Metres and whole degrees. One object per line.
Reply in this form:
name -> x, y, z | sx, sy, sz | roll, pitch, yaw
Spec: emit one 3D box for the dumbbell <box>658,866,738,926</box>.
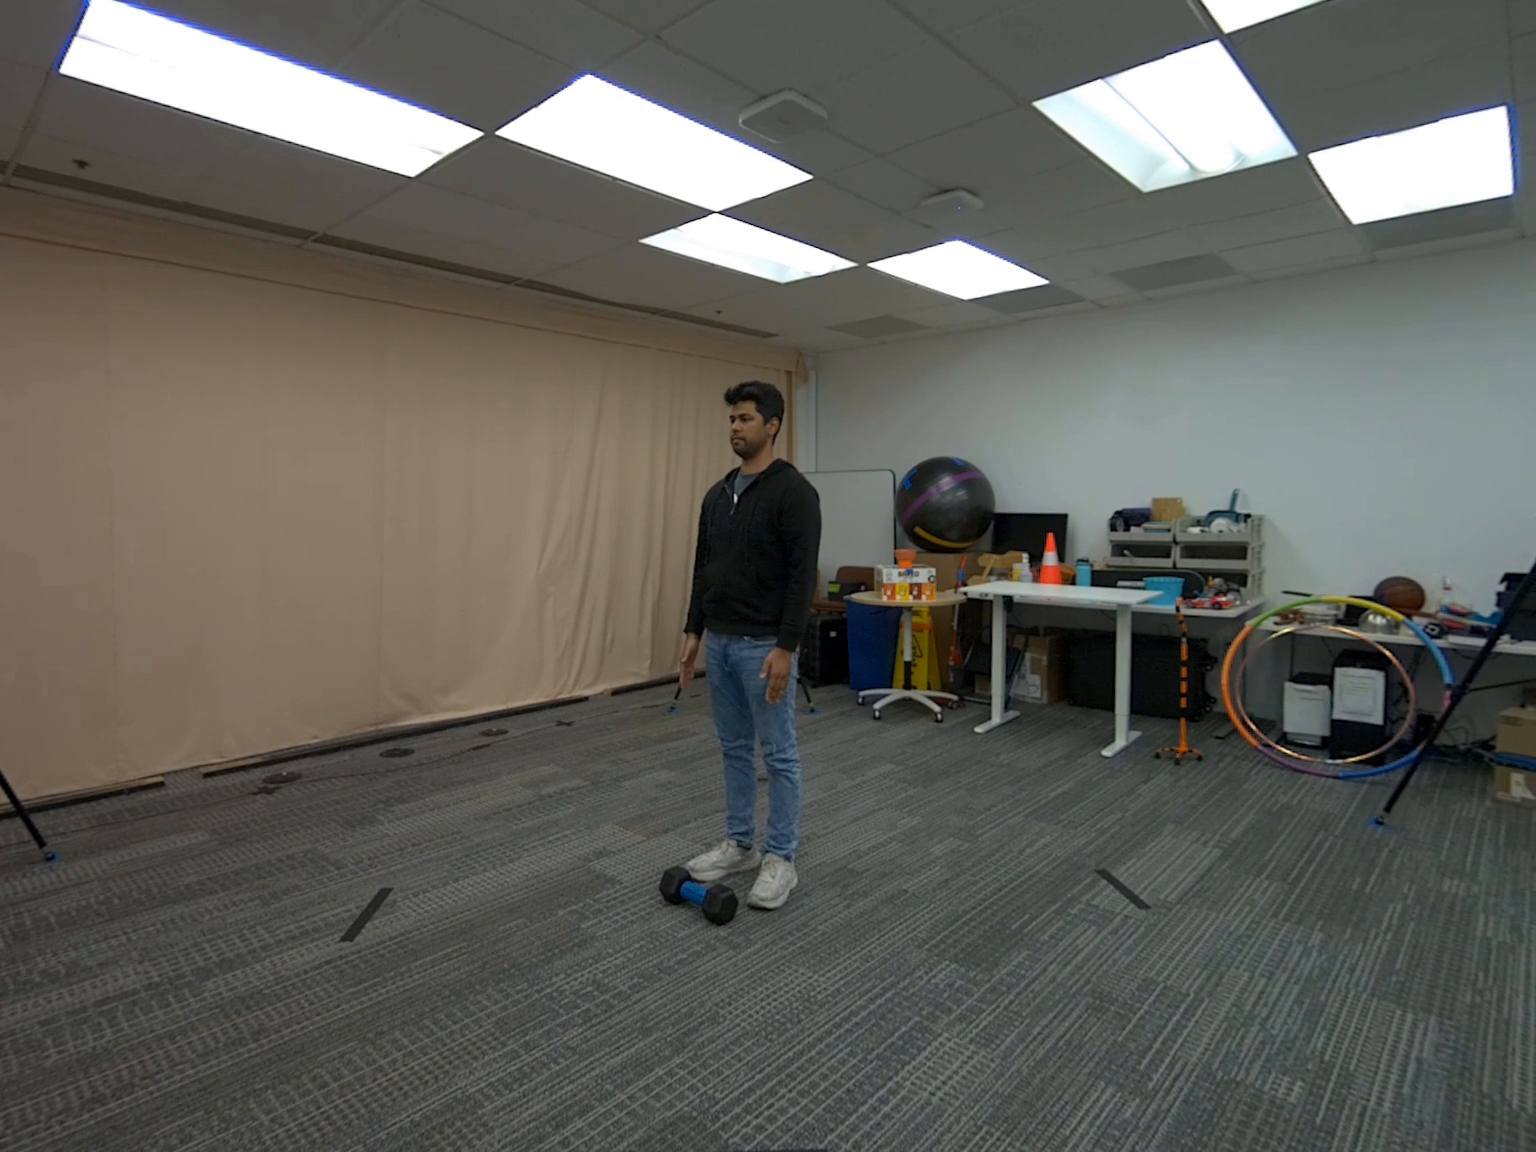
dumbbell -> -0.239, 1.097, 2.897 | 0.303, 0.123, 0.105 | 4, -25, 41
